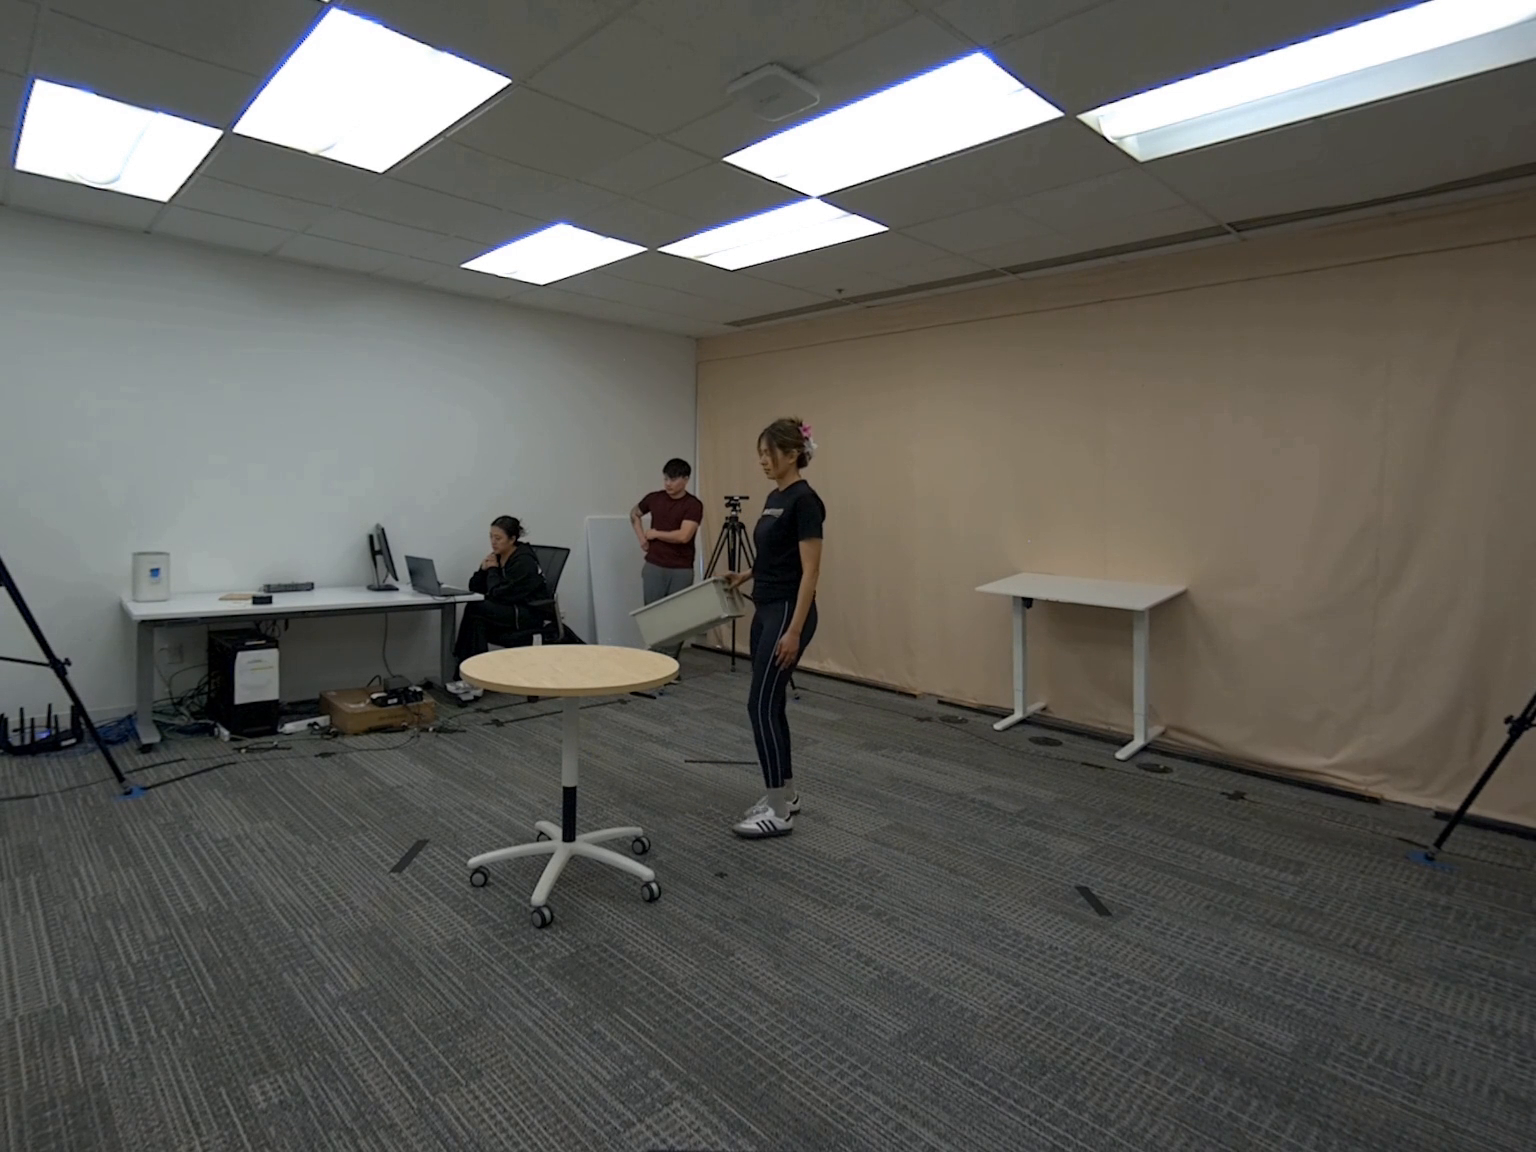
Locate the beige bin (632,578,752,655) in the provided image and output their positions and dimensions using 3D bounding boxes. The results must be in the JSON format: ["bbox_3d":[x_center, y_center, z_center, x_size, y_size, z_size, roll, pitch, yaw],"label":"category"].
[{"bbox_3d":[-0.354,0.171,3.803,0.424,0.190,0.373,-22,-6,12],"label":"beige bin"}]
